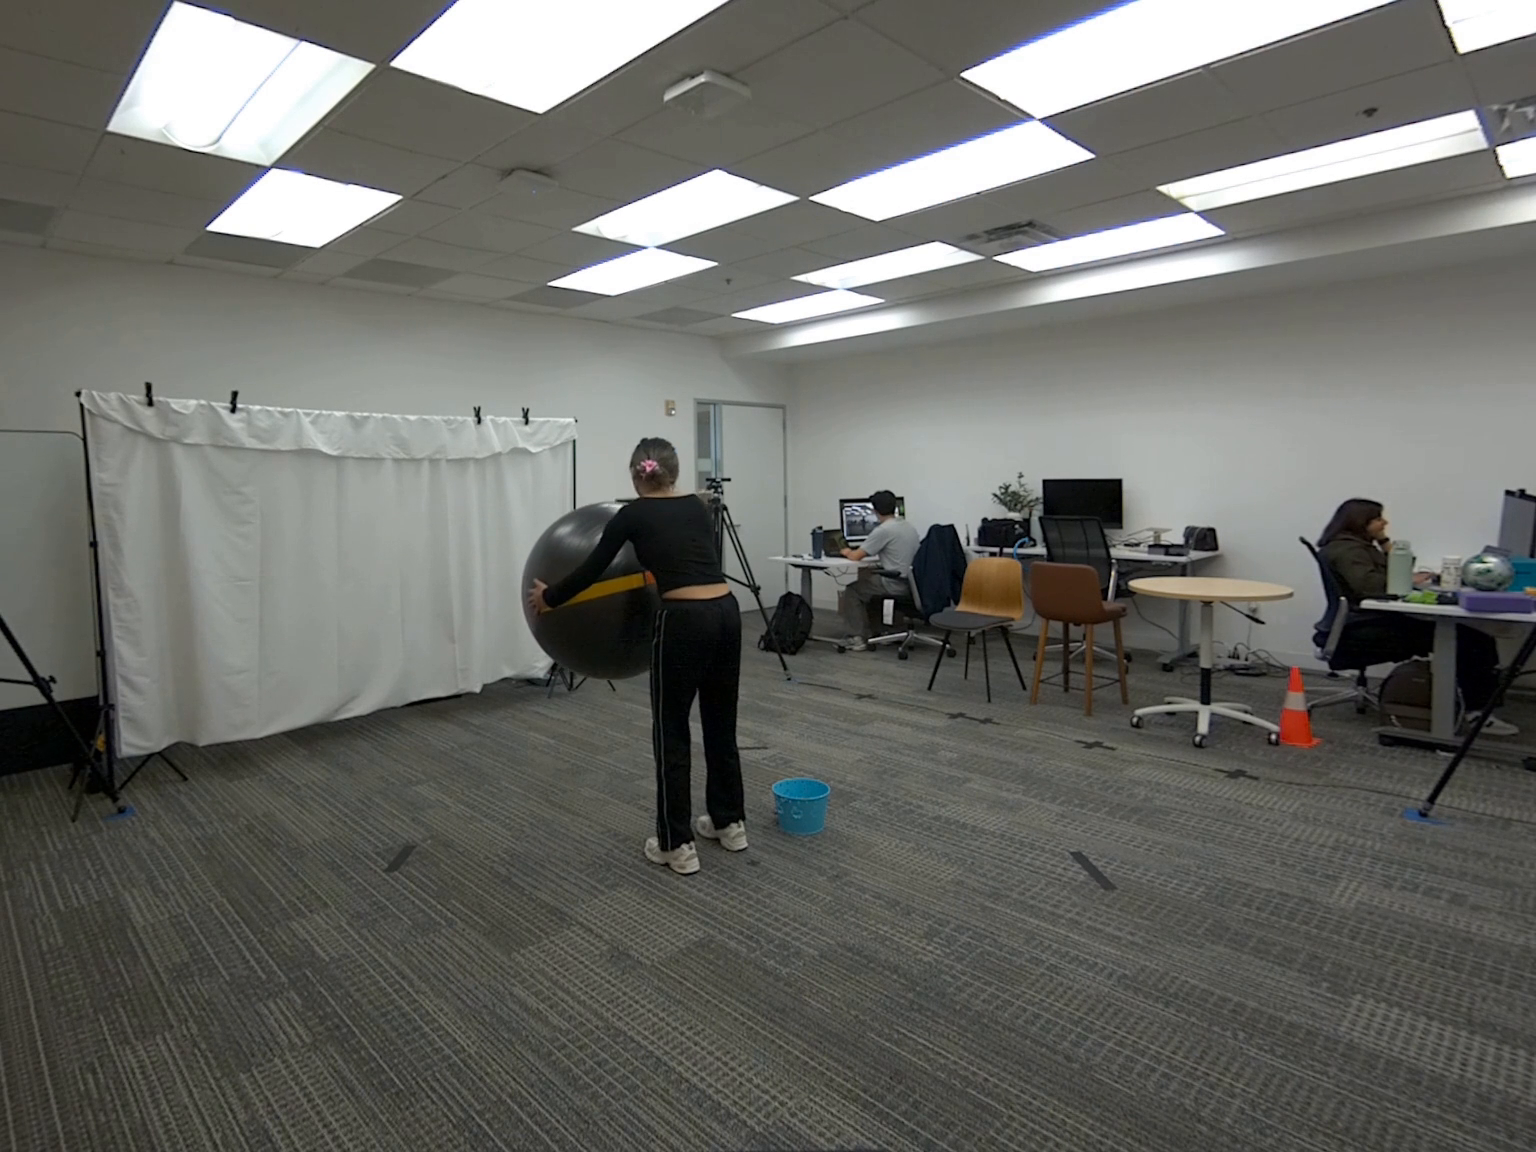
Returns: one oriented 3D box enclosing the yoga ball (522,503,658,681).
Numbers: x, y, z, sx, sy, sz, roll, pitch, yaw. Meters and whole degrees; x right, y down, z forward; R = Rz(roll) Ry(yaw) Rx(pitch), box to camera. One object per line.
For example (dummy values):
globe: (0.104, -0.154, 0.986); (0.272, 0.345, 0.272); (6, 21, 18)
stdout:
yoga ball: (-0.669, 0.071, 3.676); (0.757, 0.755, 0.762); (-1, 5, -2)
